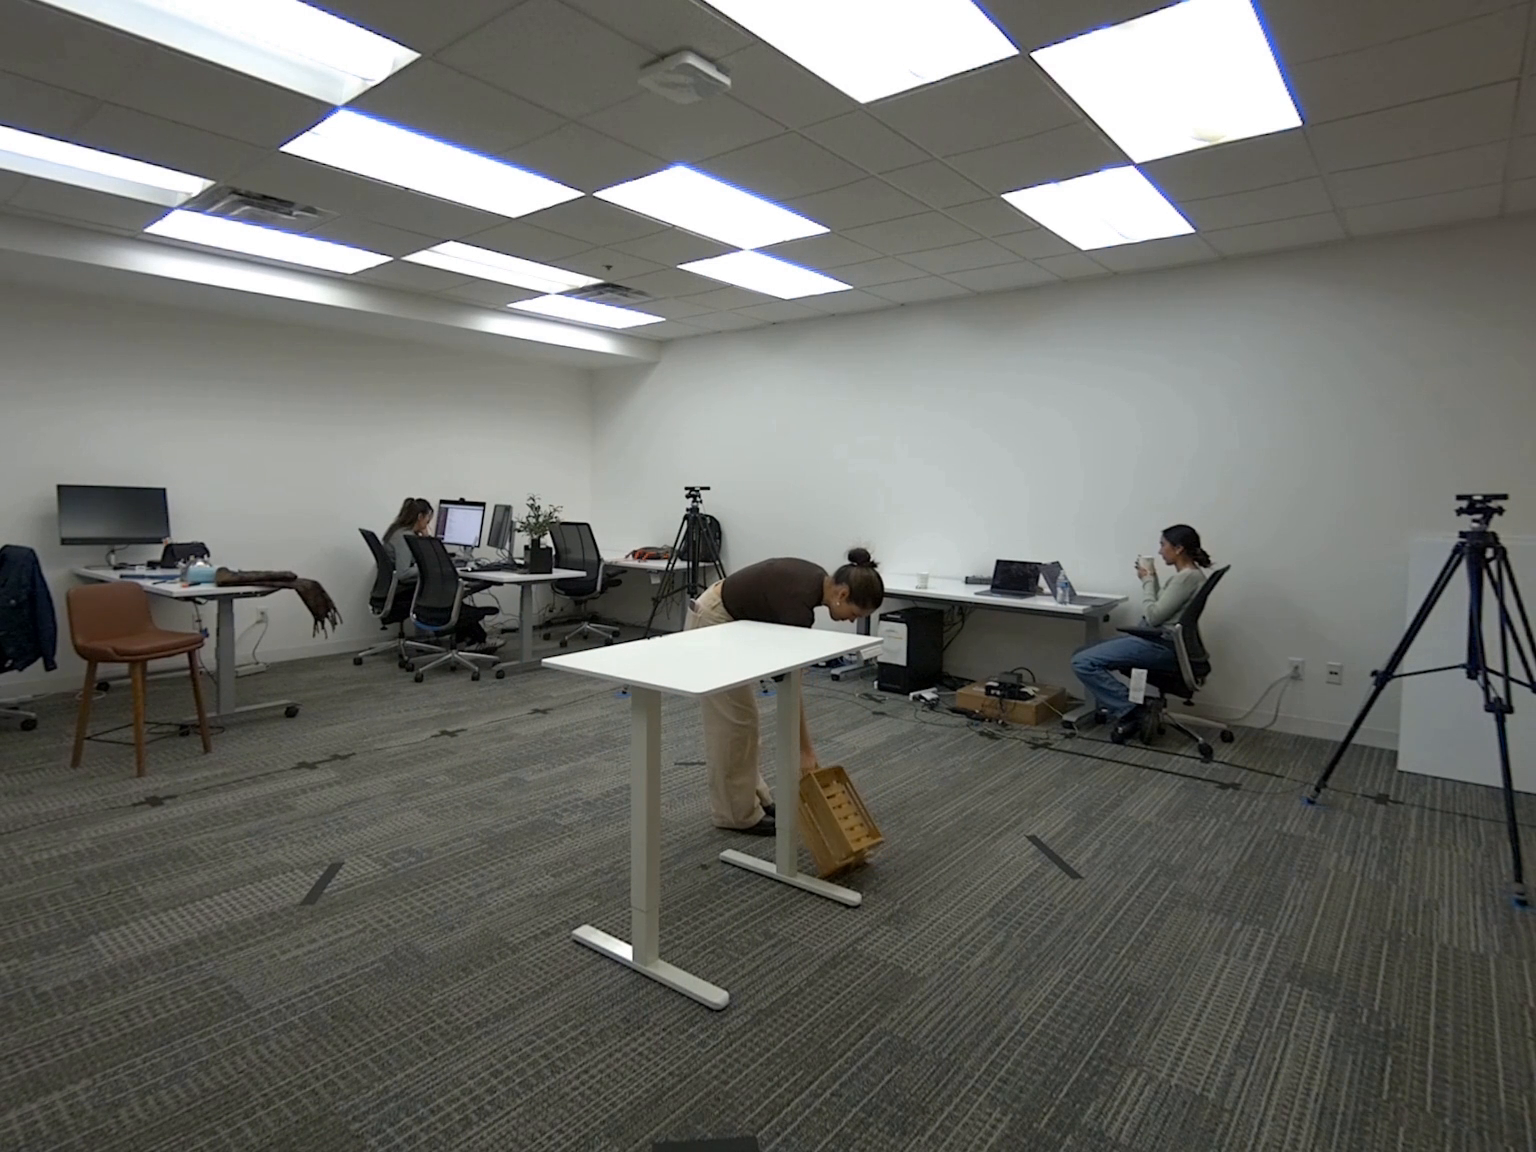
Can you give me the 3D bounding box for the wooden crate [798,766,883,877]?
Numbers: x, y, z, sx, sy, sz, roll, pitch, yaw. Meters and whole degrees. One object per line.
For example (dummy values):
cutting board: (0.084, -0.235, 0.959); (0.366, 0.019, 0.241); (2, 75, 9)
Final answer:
wooden crate: (0.257, 0.871, 3.102); (0.293, 0.335, 0.272); (-5, -37, -41)
